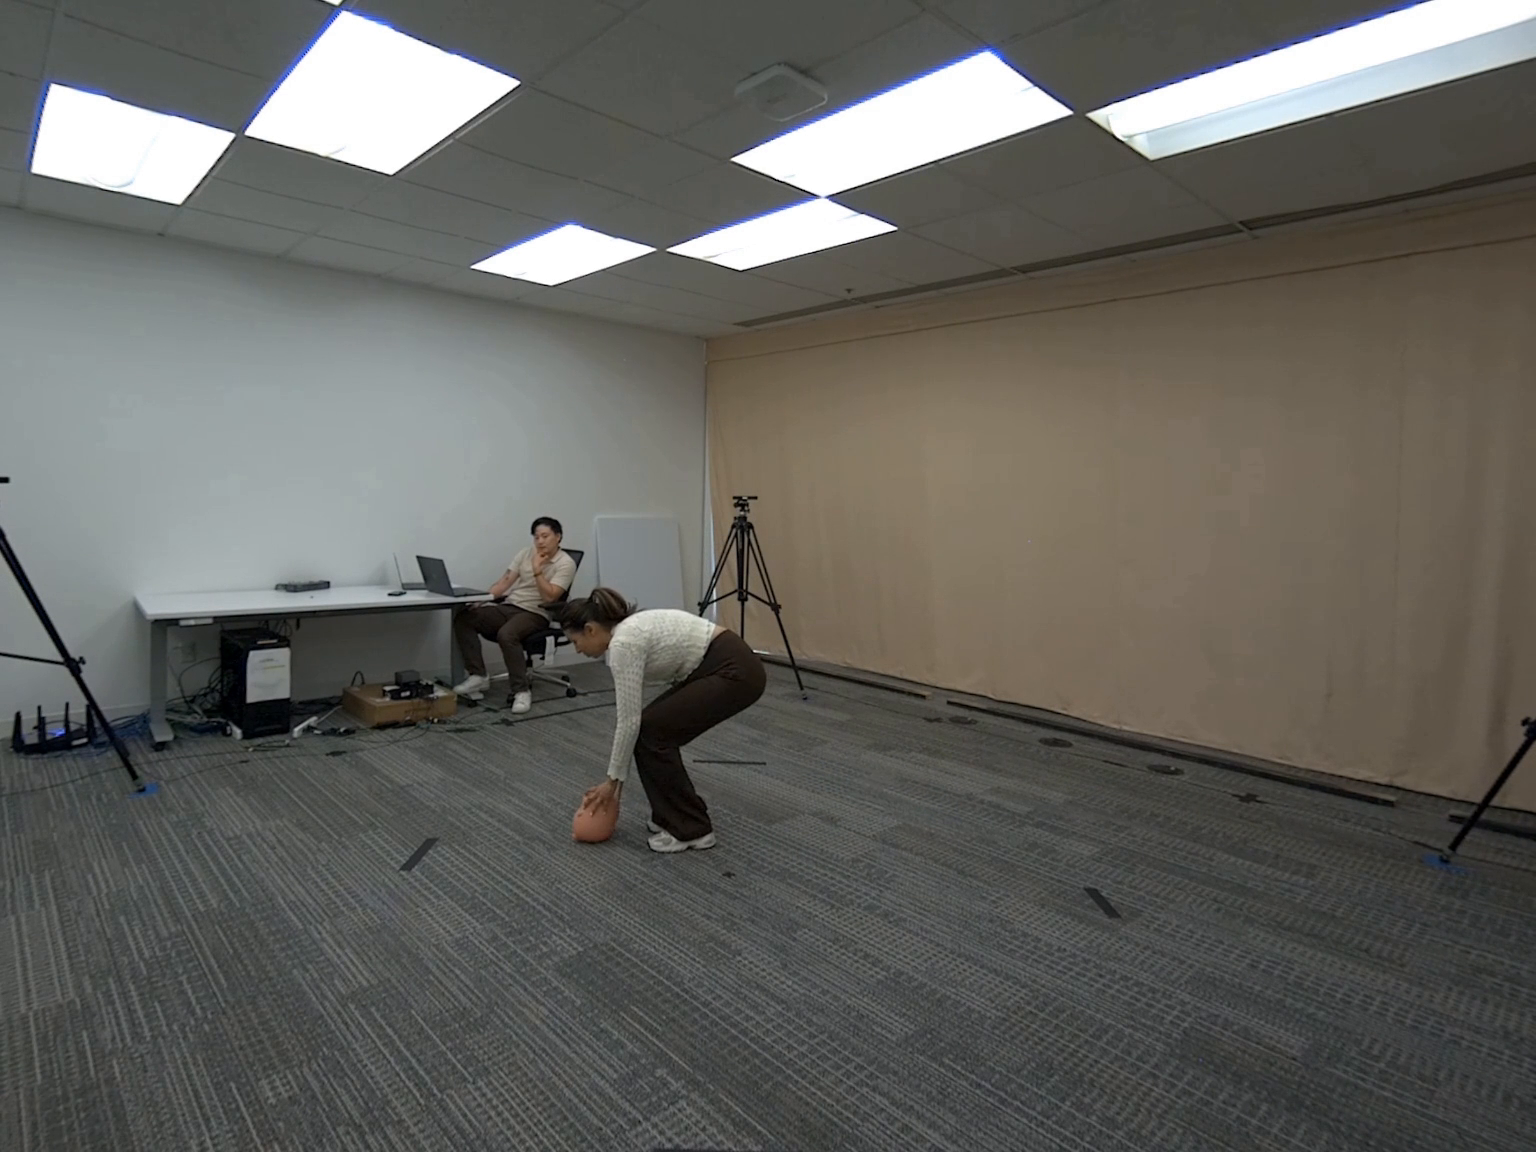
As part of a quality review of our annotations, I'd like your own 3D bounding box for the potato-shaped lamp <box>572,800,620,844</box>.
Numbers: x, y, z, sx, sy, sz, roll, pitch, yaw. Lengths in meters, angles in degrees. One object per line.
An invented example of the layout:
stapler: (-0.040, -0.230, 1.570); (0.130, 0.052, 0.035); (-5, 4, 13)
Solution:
potato-shaped lamp: (-0.699, 0.937, 3.402); (0.173, 0.198, 0.163); (6, -2, 9)
